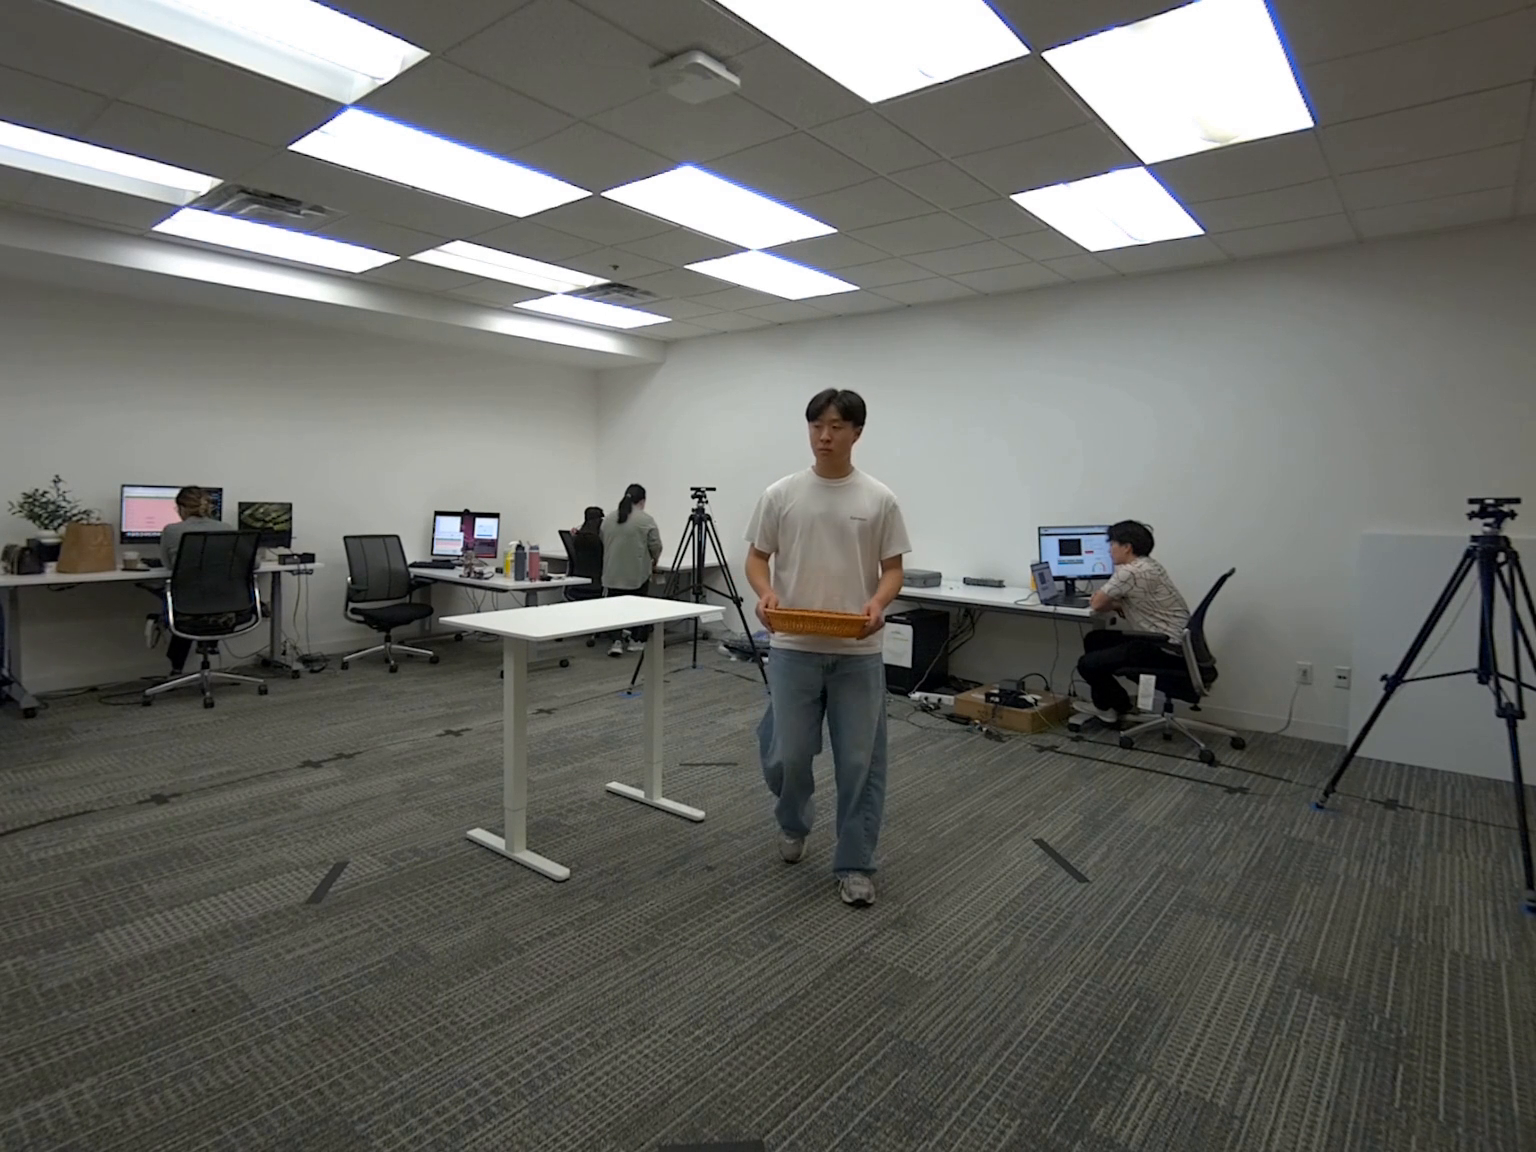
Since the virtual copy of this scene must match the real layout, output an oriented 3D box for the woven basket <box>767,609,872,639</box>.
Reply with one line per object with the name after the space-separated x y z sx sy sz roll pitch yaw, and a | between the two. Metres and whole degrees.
0.197 0.154 2.795 0.357 0.073 0.247 4 2 17 | woven basket
